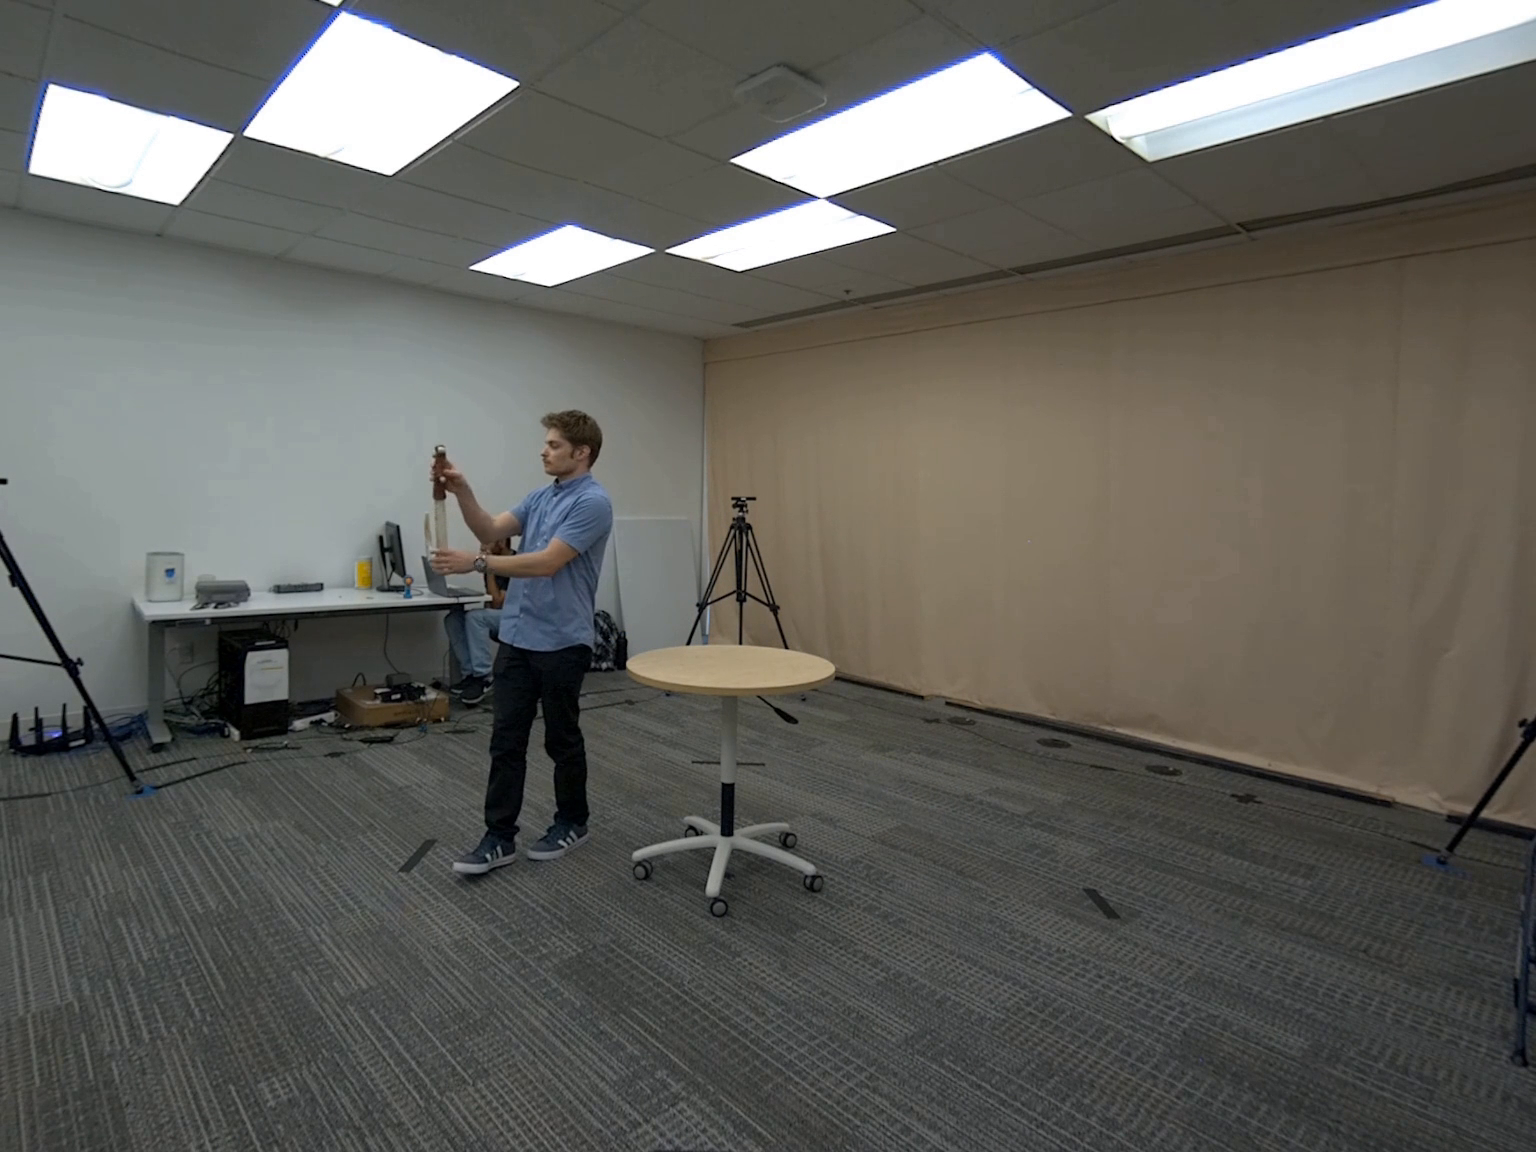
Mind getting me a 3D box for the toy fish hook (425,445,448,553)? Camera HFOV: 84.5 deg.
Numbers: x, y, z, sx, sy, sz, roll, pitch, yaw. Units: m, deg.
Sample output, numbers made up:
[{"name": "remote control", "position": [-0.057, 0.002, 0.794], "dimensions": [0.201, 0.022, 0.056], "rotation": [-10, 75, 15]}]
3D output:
[{"name": "toy fish hook", "position": [-1.219, -0.251, 3.036], "dimensions": [0.047, 0.500, 0.232], "rotation": [-13, 32, -40]}]
